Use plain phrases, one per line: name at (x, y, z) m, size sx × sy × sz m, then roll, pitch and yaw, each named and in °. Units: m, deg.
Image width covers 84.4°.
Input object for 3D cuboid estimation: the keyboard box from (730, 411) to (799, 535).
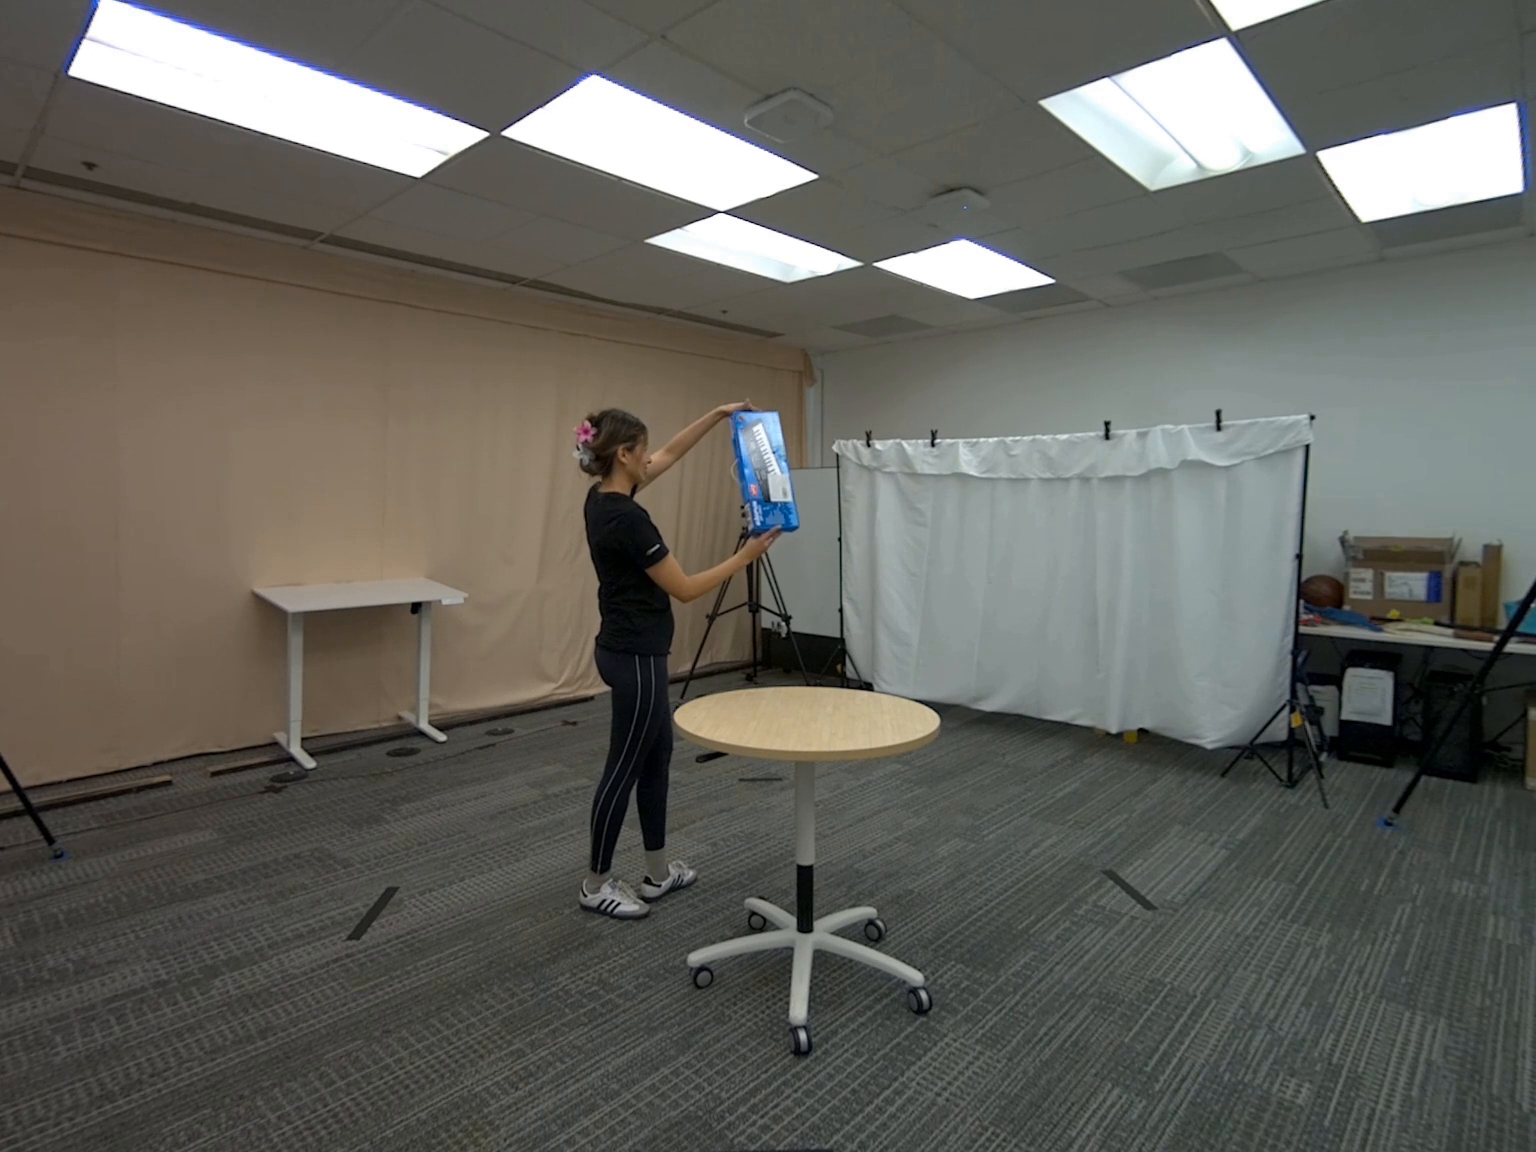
keyboard box at (-0.010, -0.361, 2.943) m, size 0.172 × 0.442 × 0.059 m, roll -1°, pitch -17°, yaw -20°
